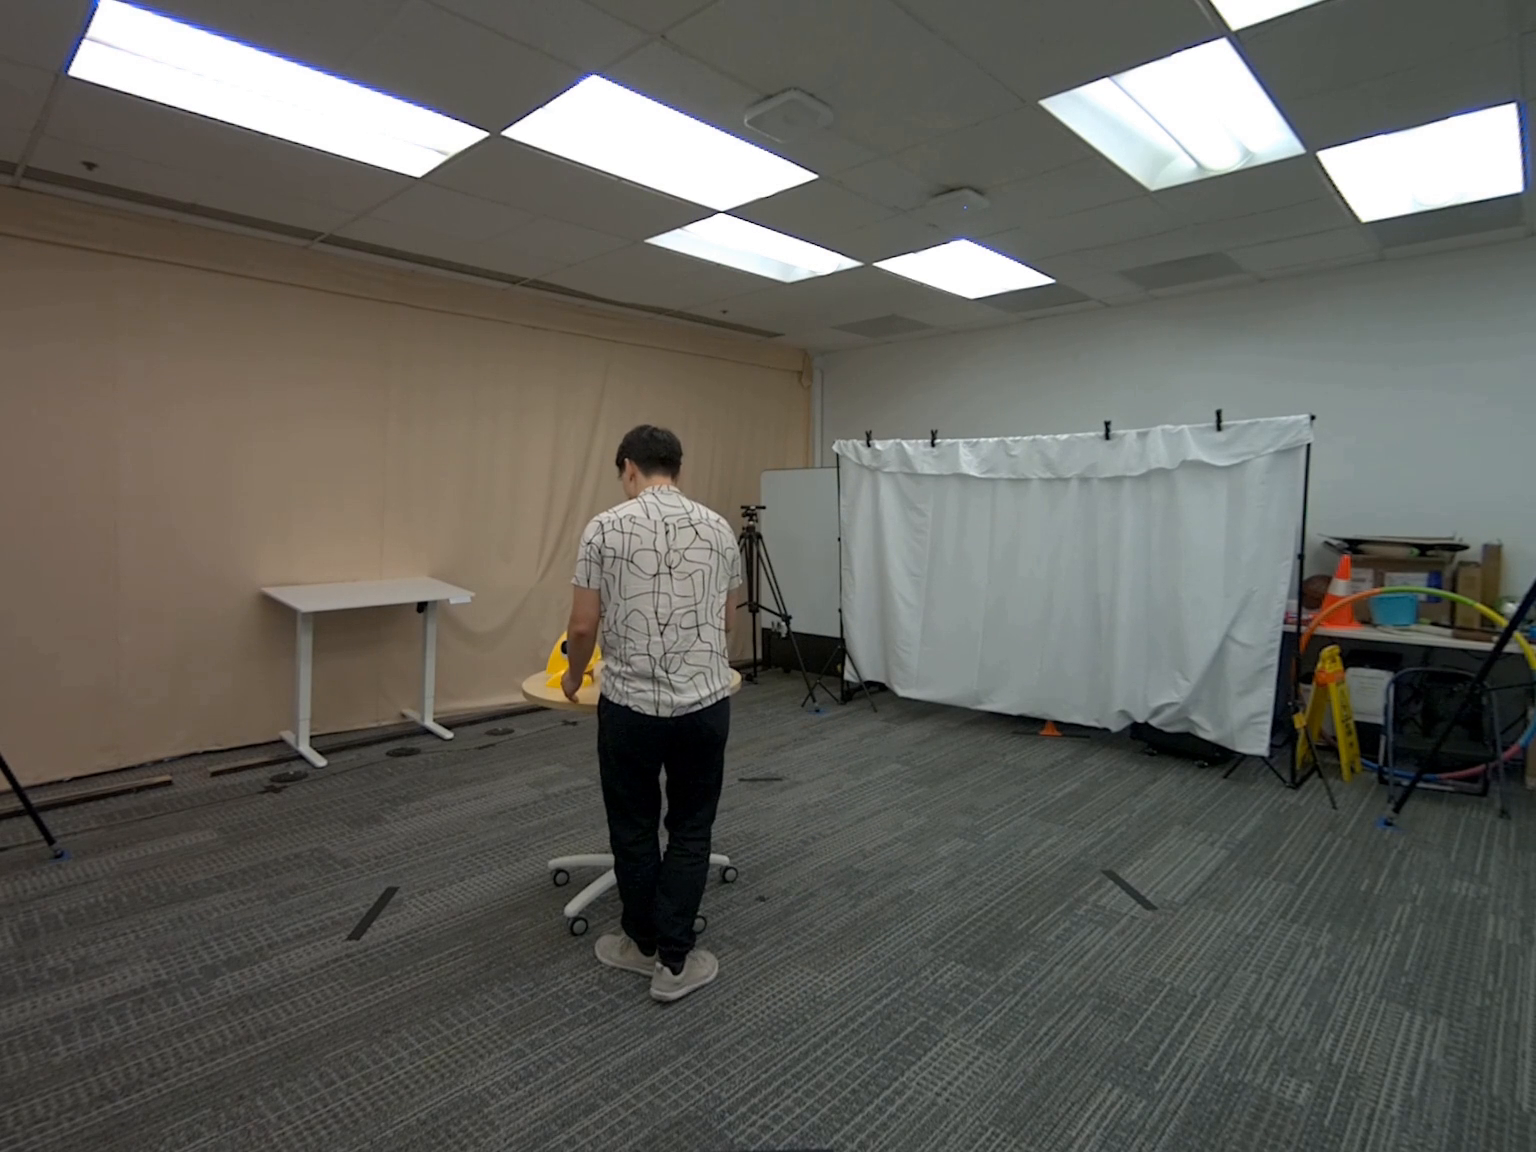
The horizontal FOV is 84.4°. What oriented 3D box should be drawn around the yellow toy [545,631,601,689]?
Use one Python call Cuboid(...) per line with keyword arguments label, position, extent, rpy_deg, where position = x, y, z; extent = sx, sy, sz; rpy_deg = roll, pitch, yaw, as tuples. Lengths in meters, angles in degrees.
Cuboid(label="yellow toy", position=(-0.683, 0.255, 2.938), extent=(0.192, 0.230, 0.206), rpy_deg=(1, 3, -5))
